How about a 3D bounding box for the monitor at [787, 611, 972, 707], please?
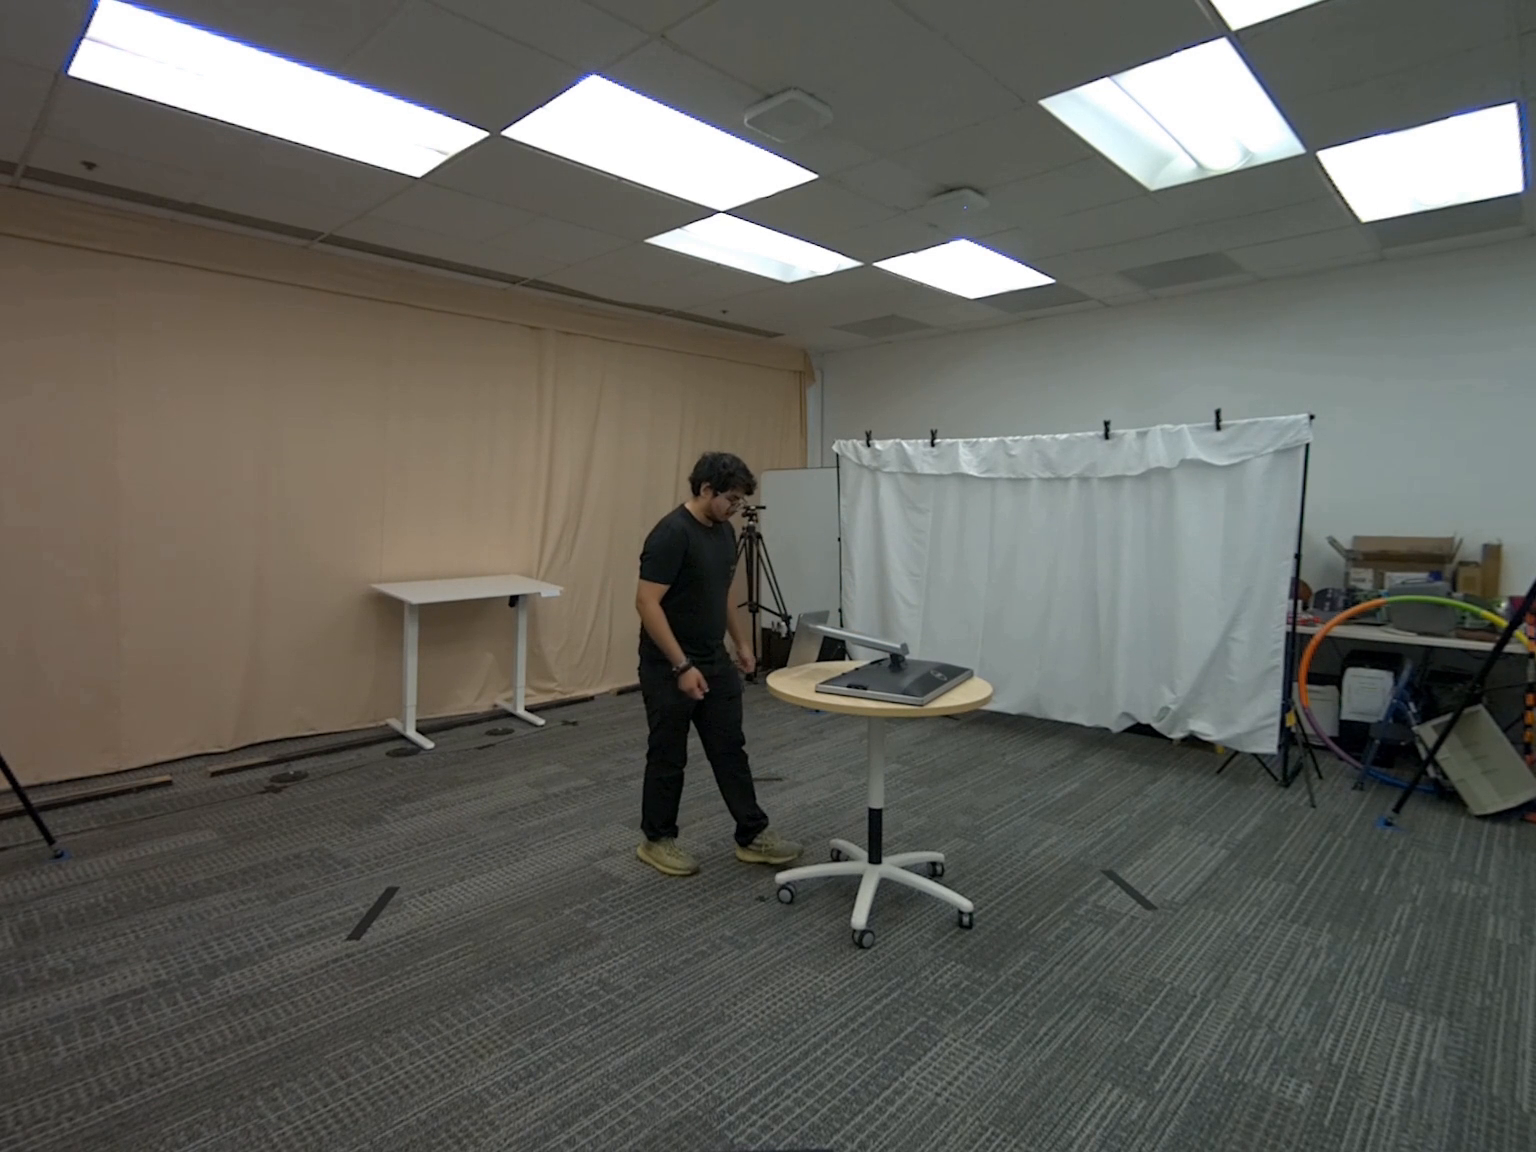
[{"bbox_3d":[0.381,0.273,2.916,0.571,0.209,0.550,9,8,30],"label":"monitor"}]
